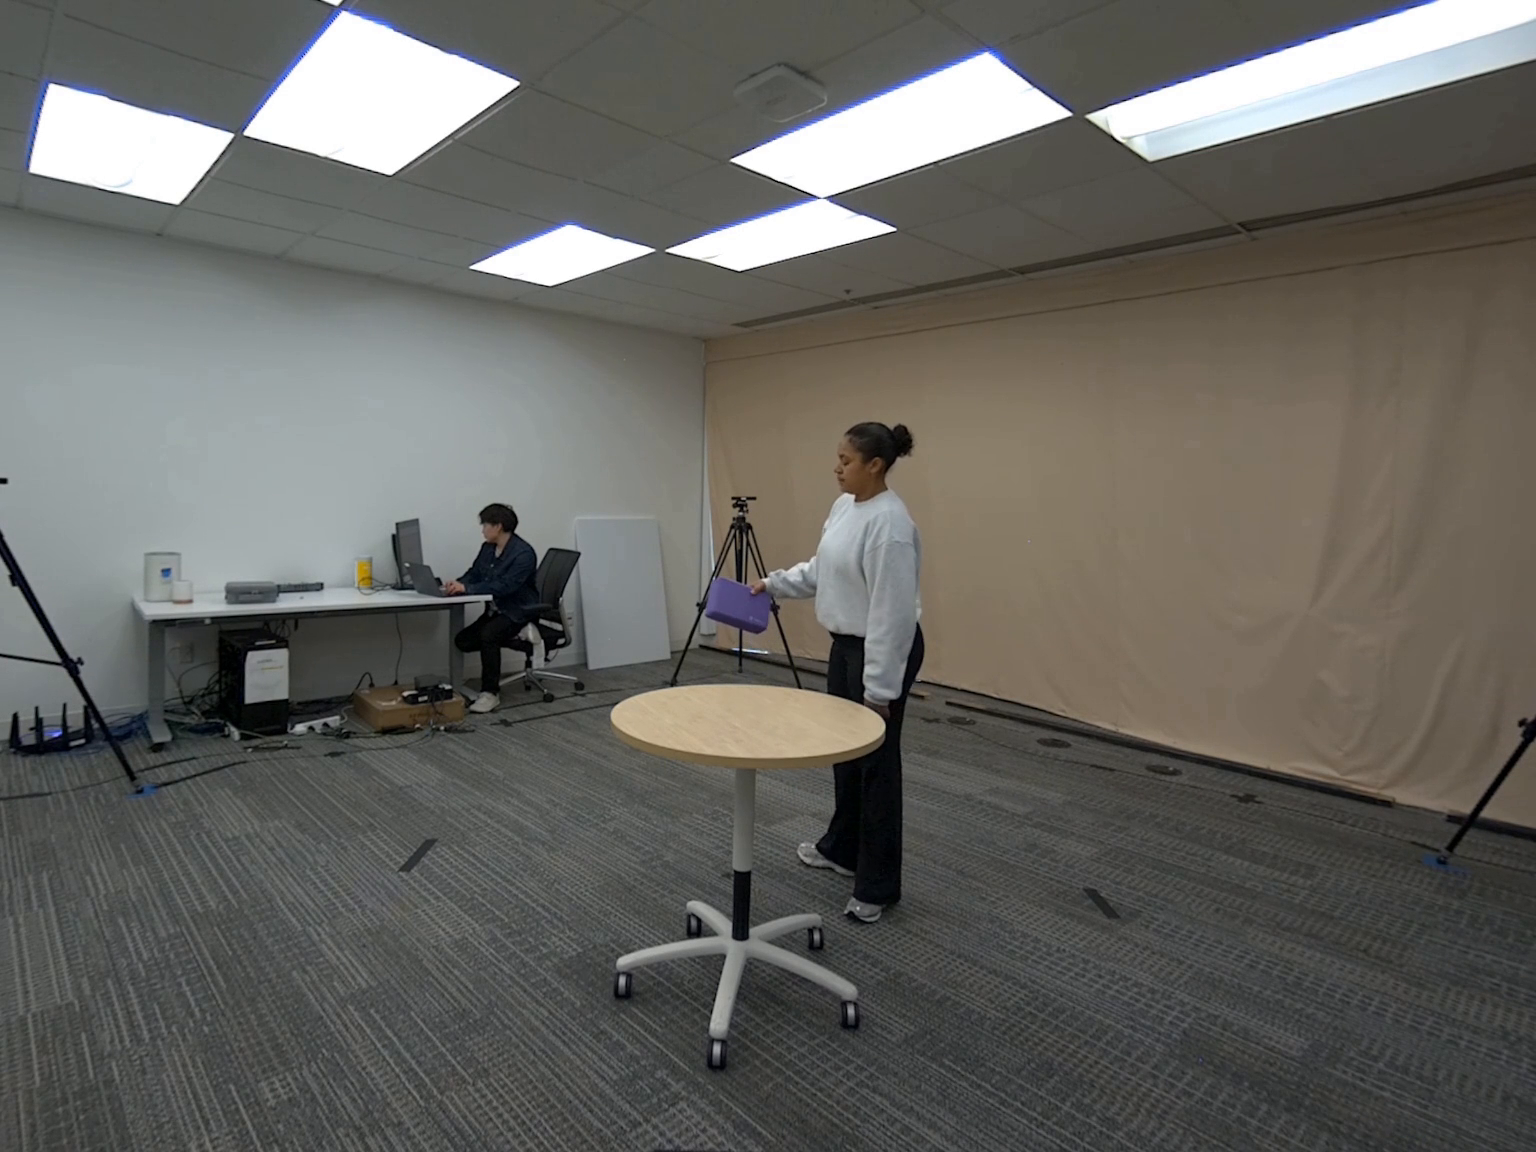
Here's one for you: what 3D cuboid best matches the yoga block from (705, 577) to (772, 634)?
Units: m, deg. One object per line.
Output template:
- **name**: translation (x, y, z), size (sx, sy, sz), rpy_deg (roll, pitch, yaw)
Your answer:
- **yoga block**: translation (-0.107, 0.115, 3.092), size (0.225, 0.151, 0.077), rpy_deg (20, -25, -18)
